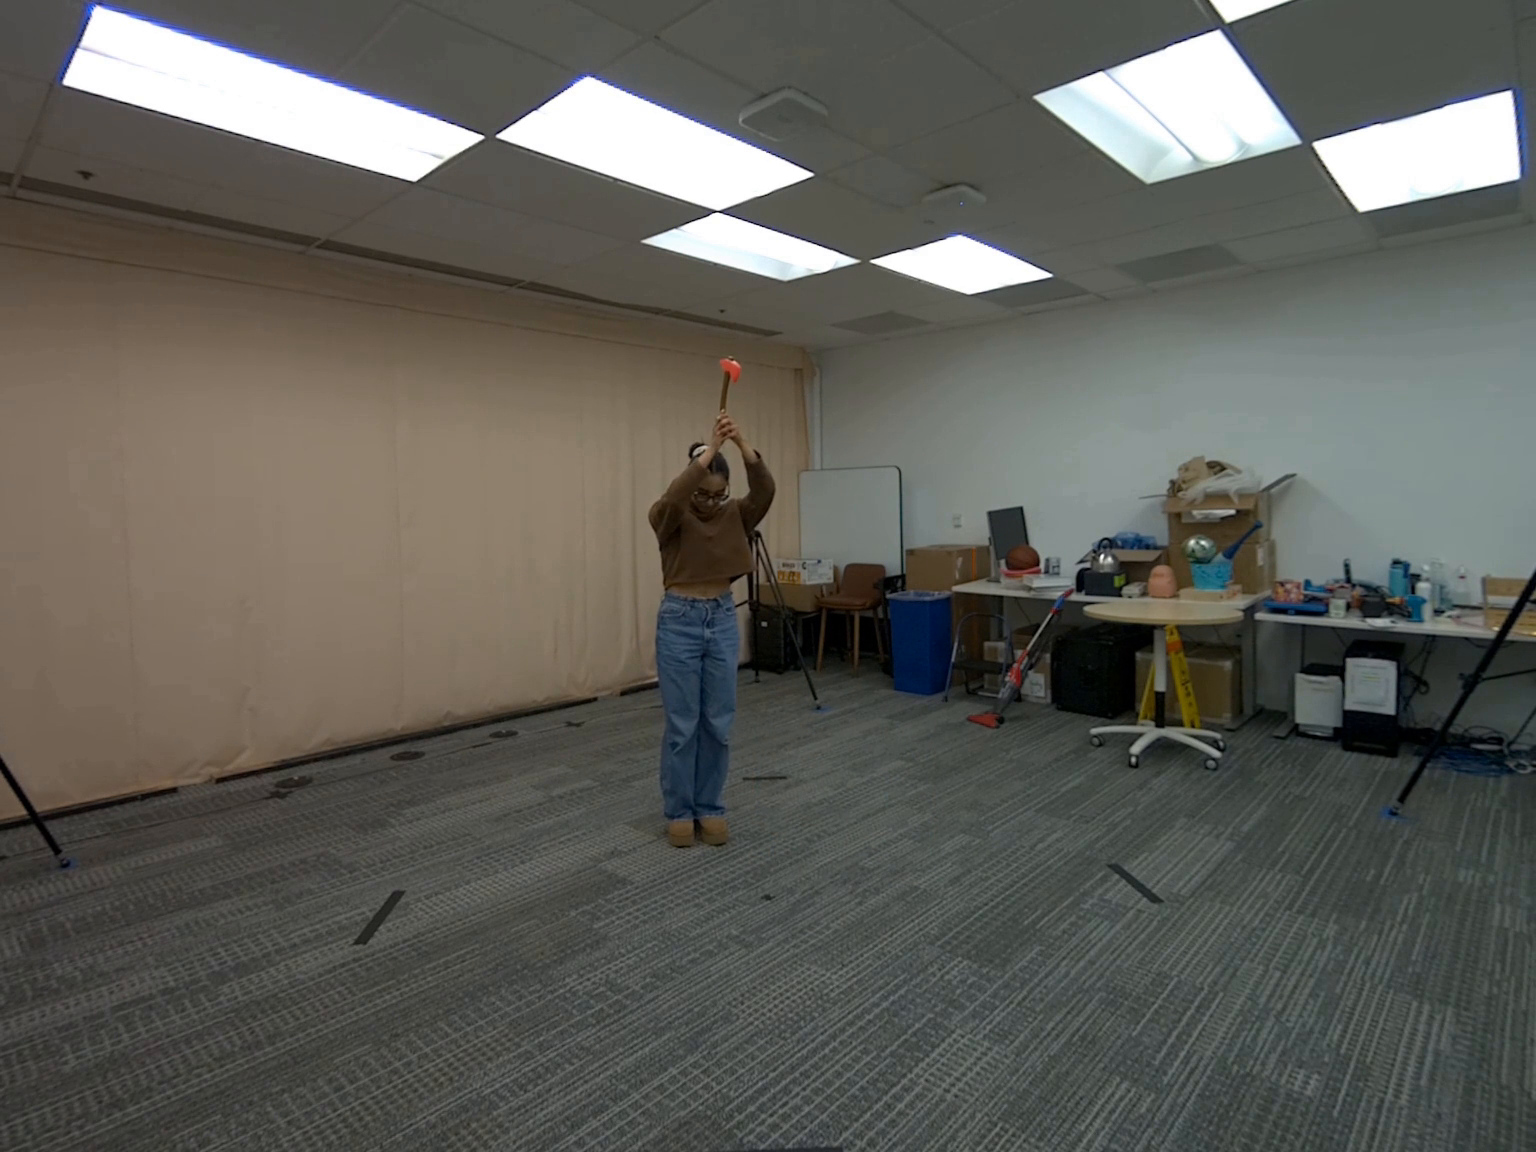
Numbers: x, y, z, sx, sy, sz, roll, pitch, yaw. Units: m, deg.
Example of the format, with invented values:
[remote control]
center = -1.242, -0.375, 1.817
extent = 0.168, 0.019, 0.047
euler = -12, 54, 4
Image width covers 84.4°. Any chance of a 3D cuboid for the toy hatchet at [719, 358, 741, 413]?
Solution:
[toy hatchet]
center = -0.135, -0.669, 3.102
extent = 0.029, 0.269, 0.135
euler = 1, 4, -36
